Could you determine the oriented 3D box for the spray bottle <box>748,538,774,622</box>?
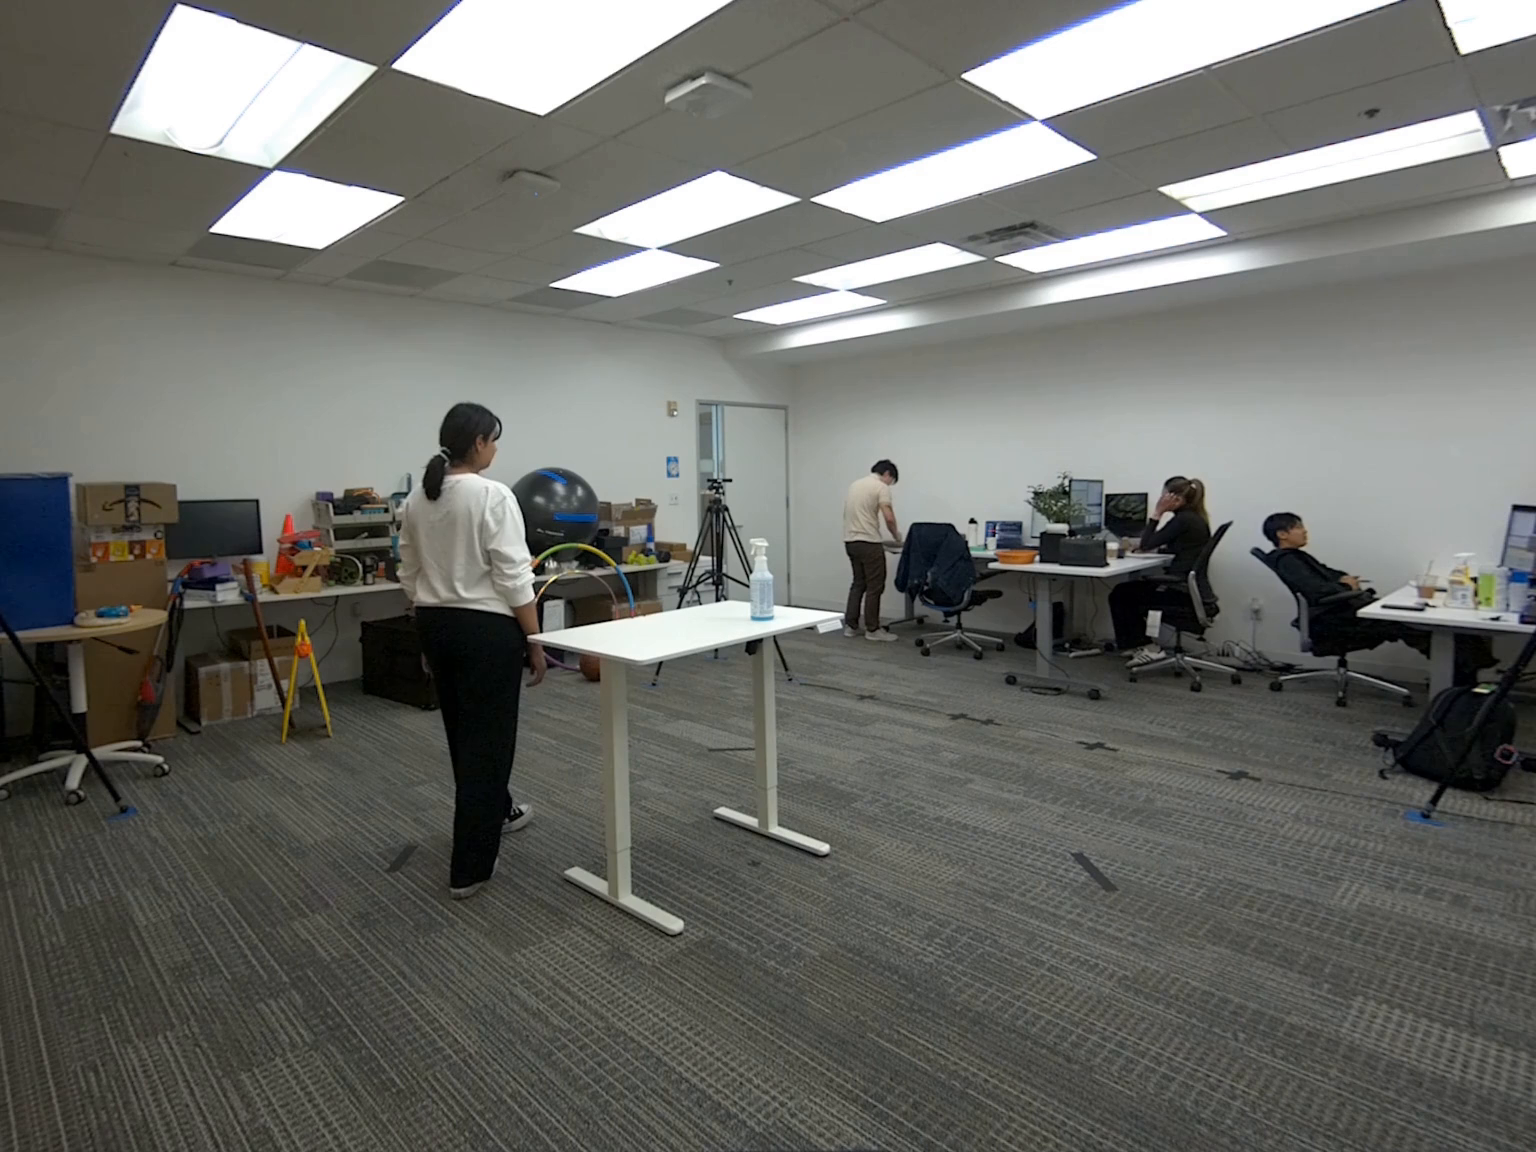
[{"bbox_3d":[-0.032,0.014,3.108,0.088,0.296,0.089,-7,5,-20],"label":"spray bottle"}]
